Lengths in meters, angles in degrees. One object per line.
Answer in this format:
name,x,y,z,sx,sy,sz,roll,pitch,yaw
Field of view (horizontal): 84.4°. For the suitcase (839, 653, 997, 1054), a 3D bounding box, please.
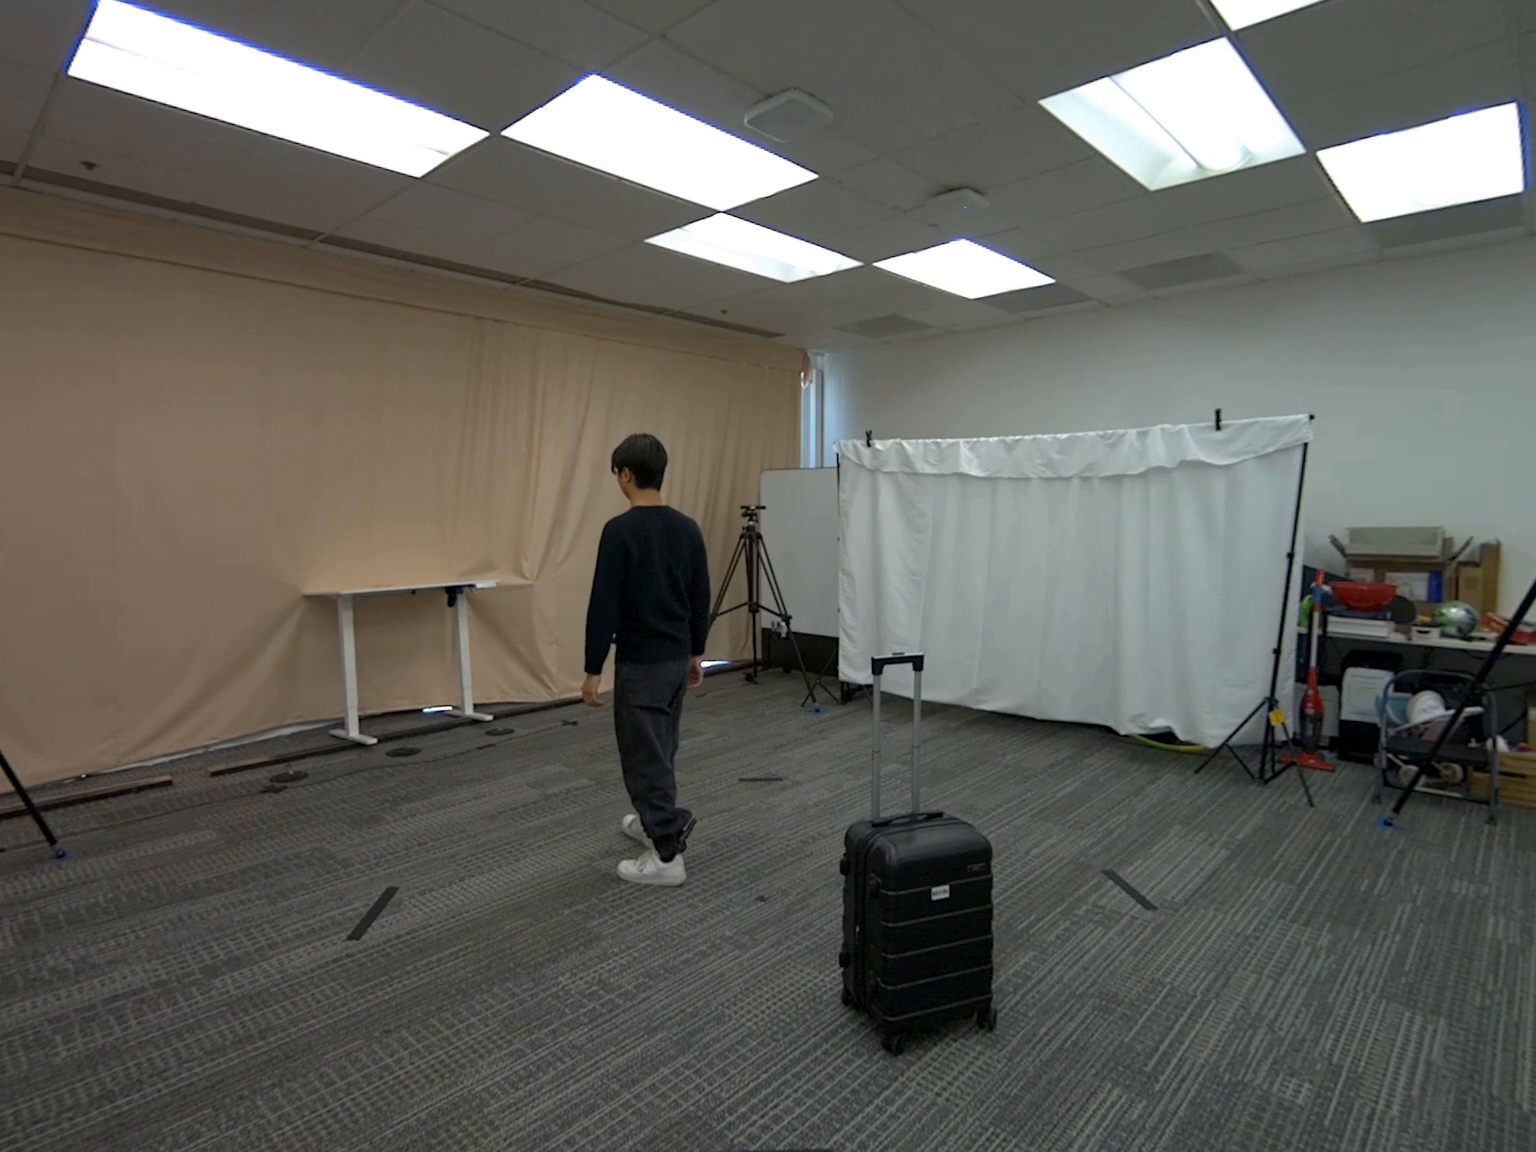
suitcase,0.412,0.729,2.249,0.377,0.975,0.263,-2,6,-18
